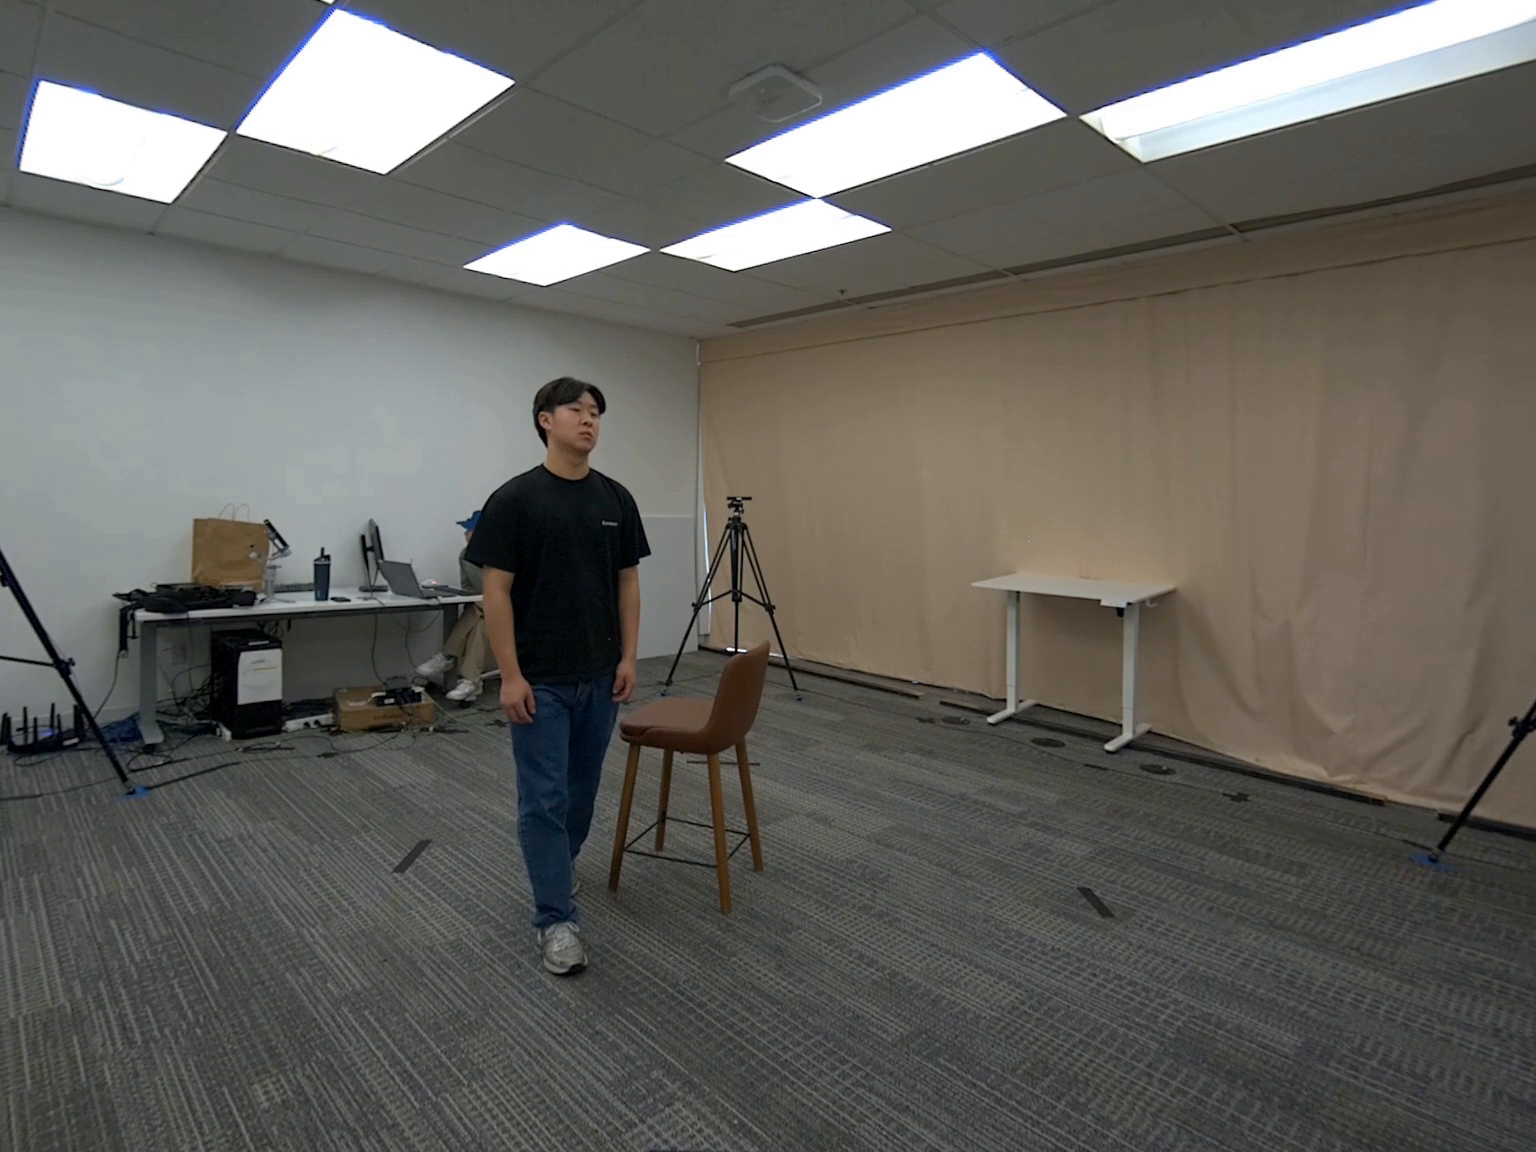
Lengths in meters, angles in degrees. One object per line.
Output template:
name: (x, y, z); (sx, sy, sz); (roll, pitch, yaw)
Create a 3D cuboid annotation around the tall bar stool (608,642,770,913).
tall bar stool: (-0.274, 0.677, 3.040); (0.475, 0.887, 0.450); (4, 4, 21)
